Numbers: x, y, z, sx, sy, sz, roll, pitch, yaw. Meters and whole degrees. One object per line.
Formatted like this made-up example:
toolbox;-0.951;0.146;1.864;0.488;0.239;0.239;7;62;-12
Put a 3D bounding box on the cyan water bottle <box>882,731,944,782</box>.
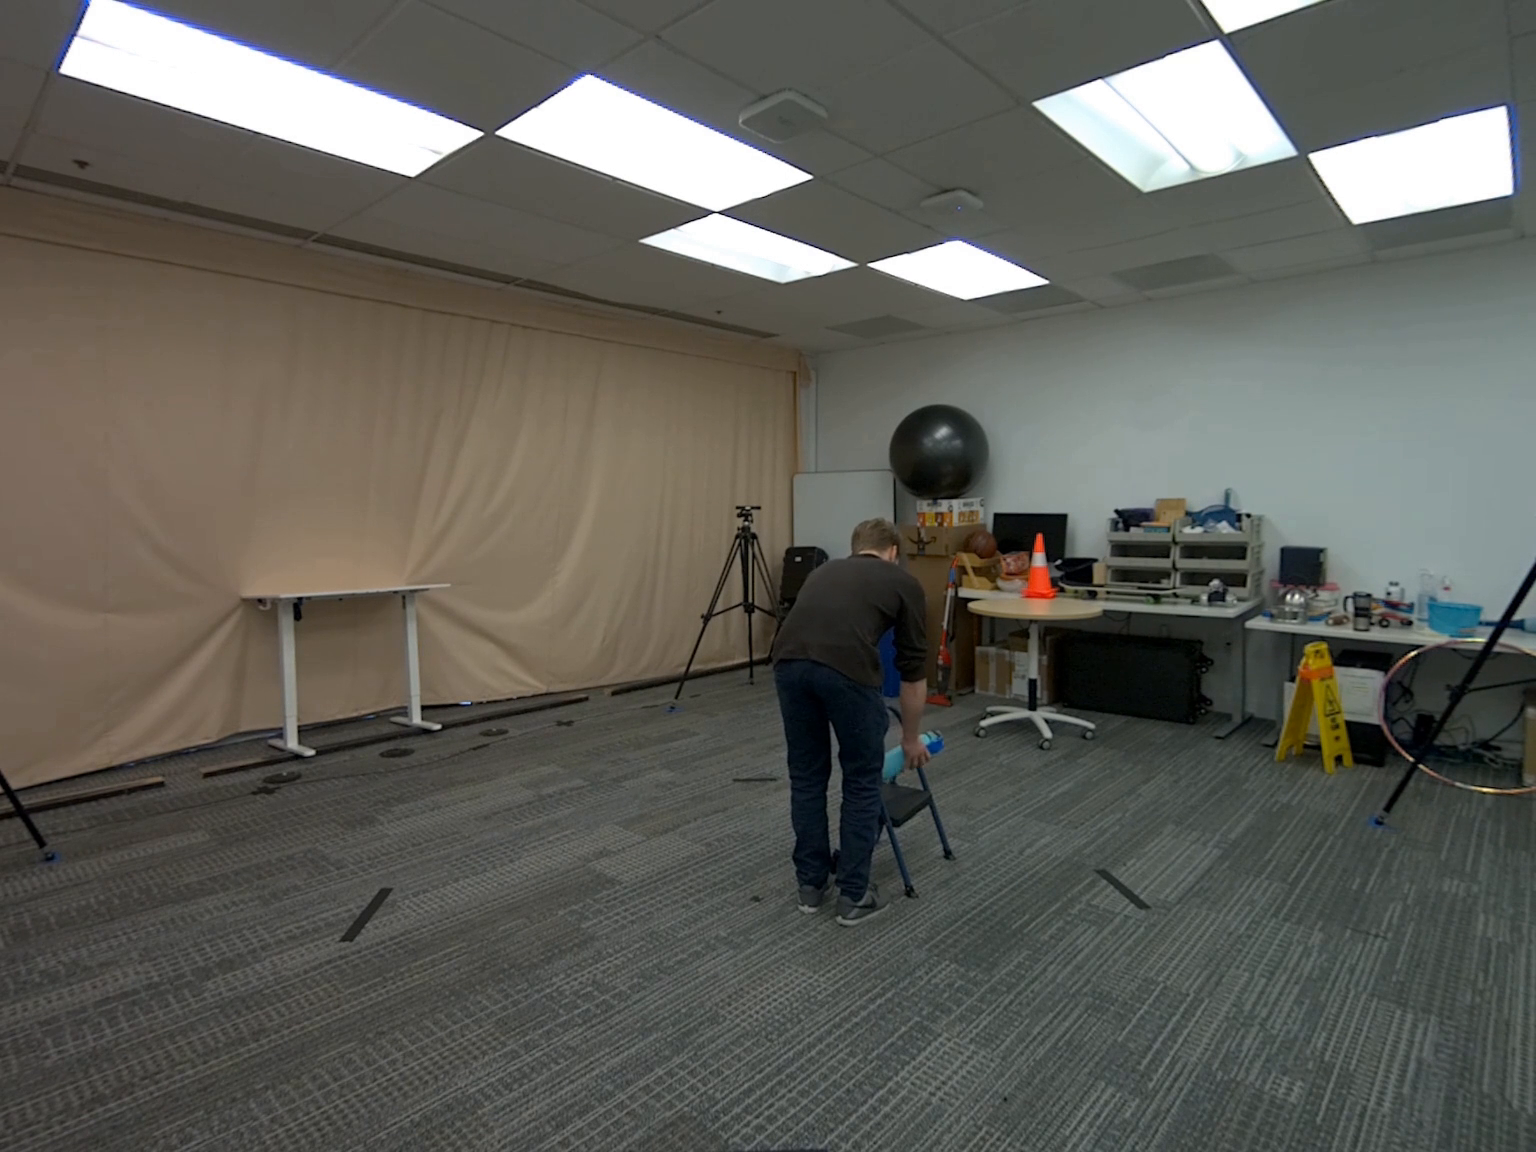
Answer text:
cyan water bottle;0.542;0.661;3.150;0.282;0.092;0.093;-25;6;-4
